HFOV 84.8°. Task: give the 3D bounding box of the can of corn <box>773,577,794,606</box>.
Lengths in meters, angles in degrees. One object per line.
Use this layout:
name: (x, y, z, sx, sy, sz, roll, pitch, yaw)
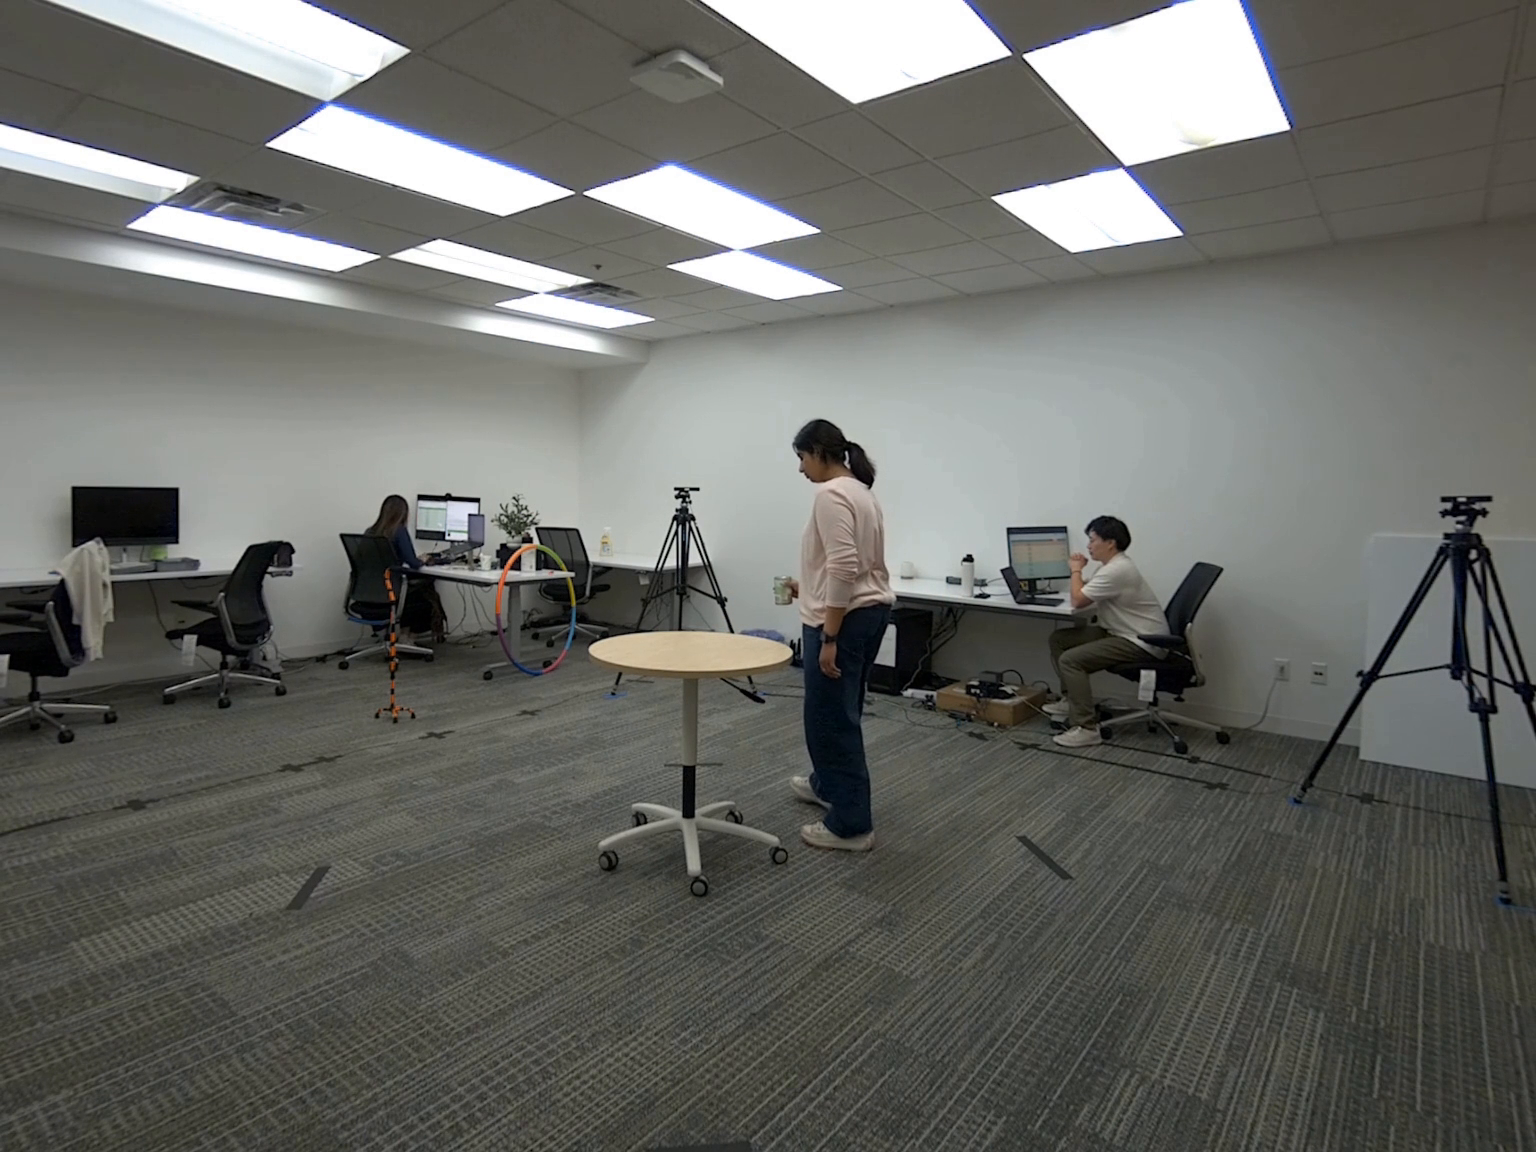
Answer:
can of corn: (0.055, 0.056, 3.614, 0.074, 0.111, 0.074, -1, 1, -2)
